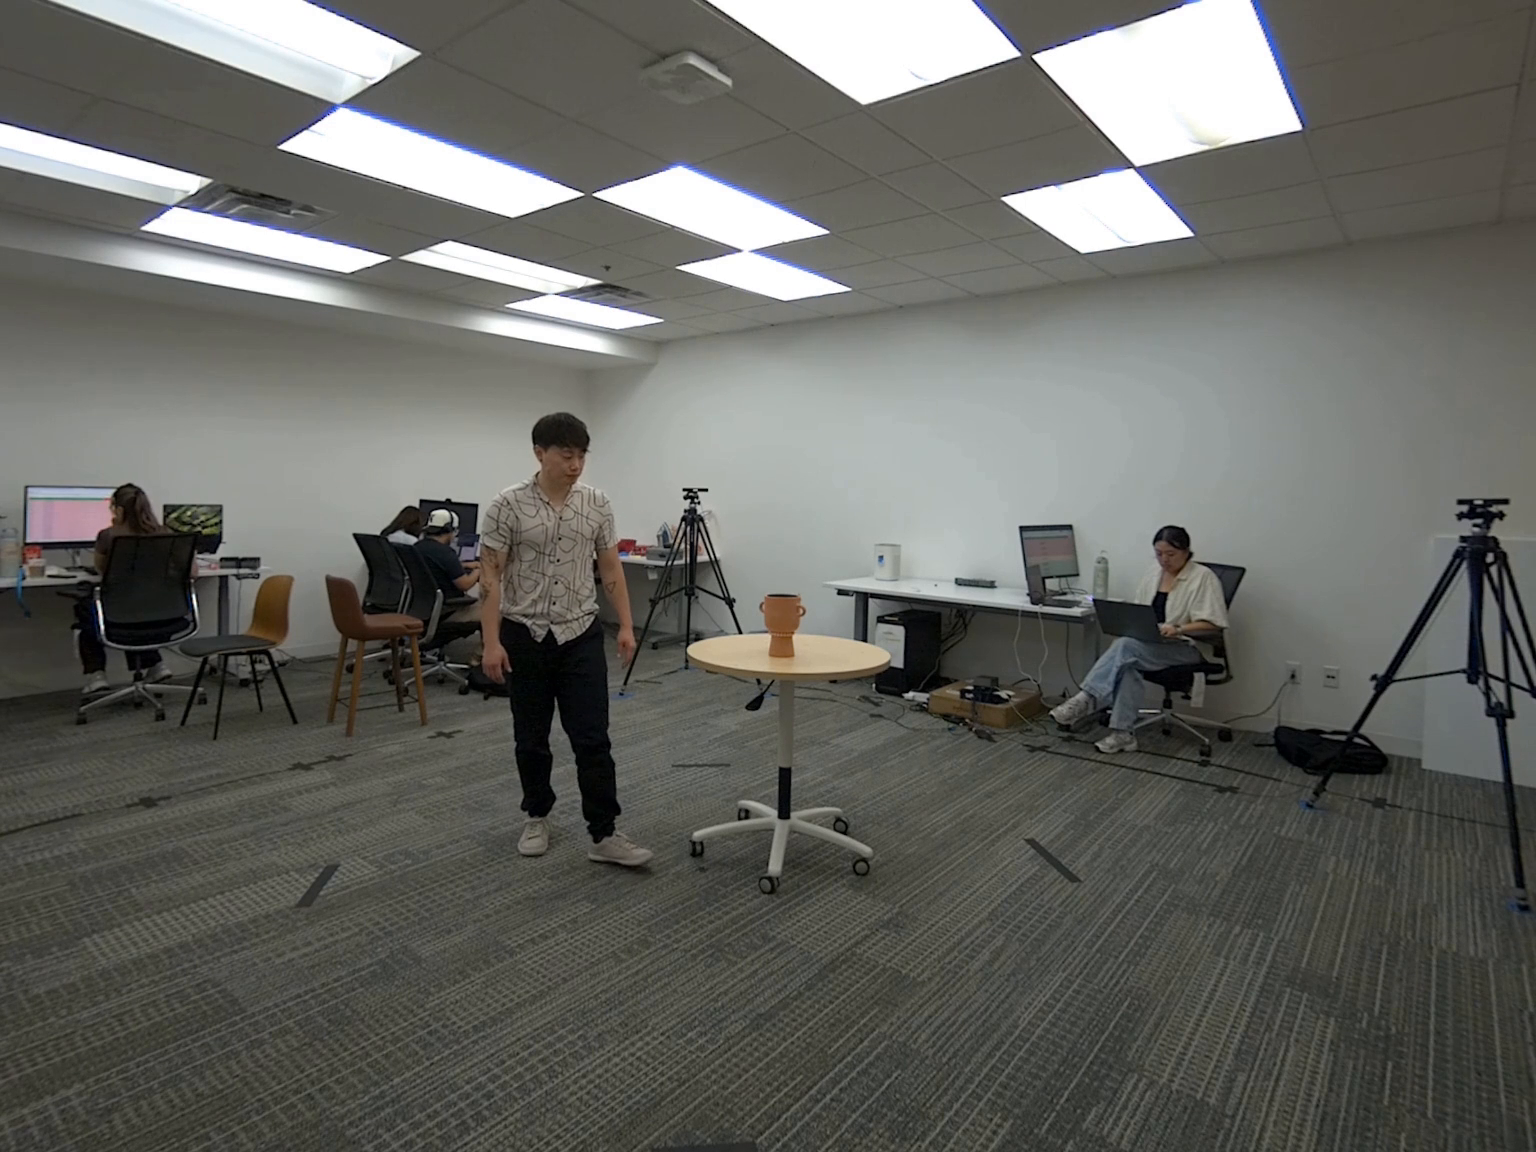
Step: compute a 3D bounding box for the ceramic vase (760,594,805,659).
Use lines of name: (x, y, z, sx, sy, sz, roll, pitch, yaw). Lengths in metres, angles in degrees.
ceramic vase: (0.045, 0.183, 3.139, 0.132, 0.219, 0.162, 0, 4, -18)
